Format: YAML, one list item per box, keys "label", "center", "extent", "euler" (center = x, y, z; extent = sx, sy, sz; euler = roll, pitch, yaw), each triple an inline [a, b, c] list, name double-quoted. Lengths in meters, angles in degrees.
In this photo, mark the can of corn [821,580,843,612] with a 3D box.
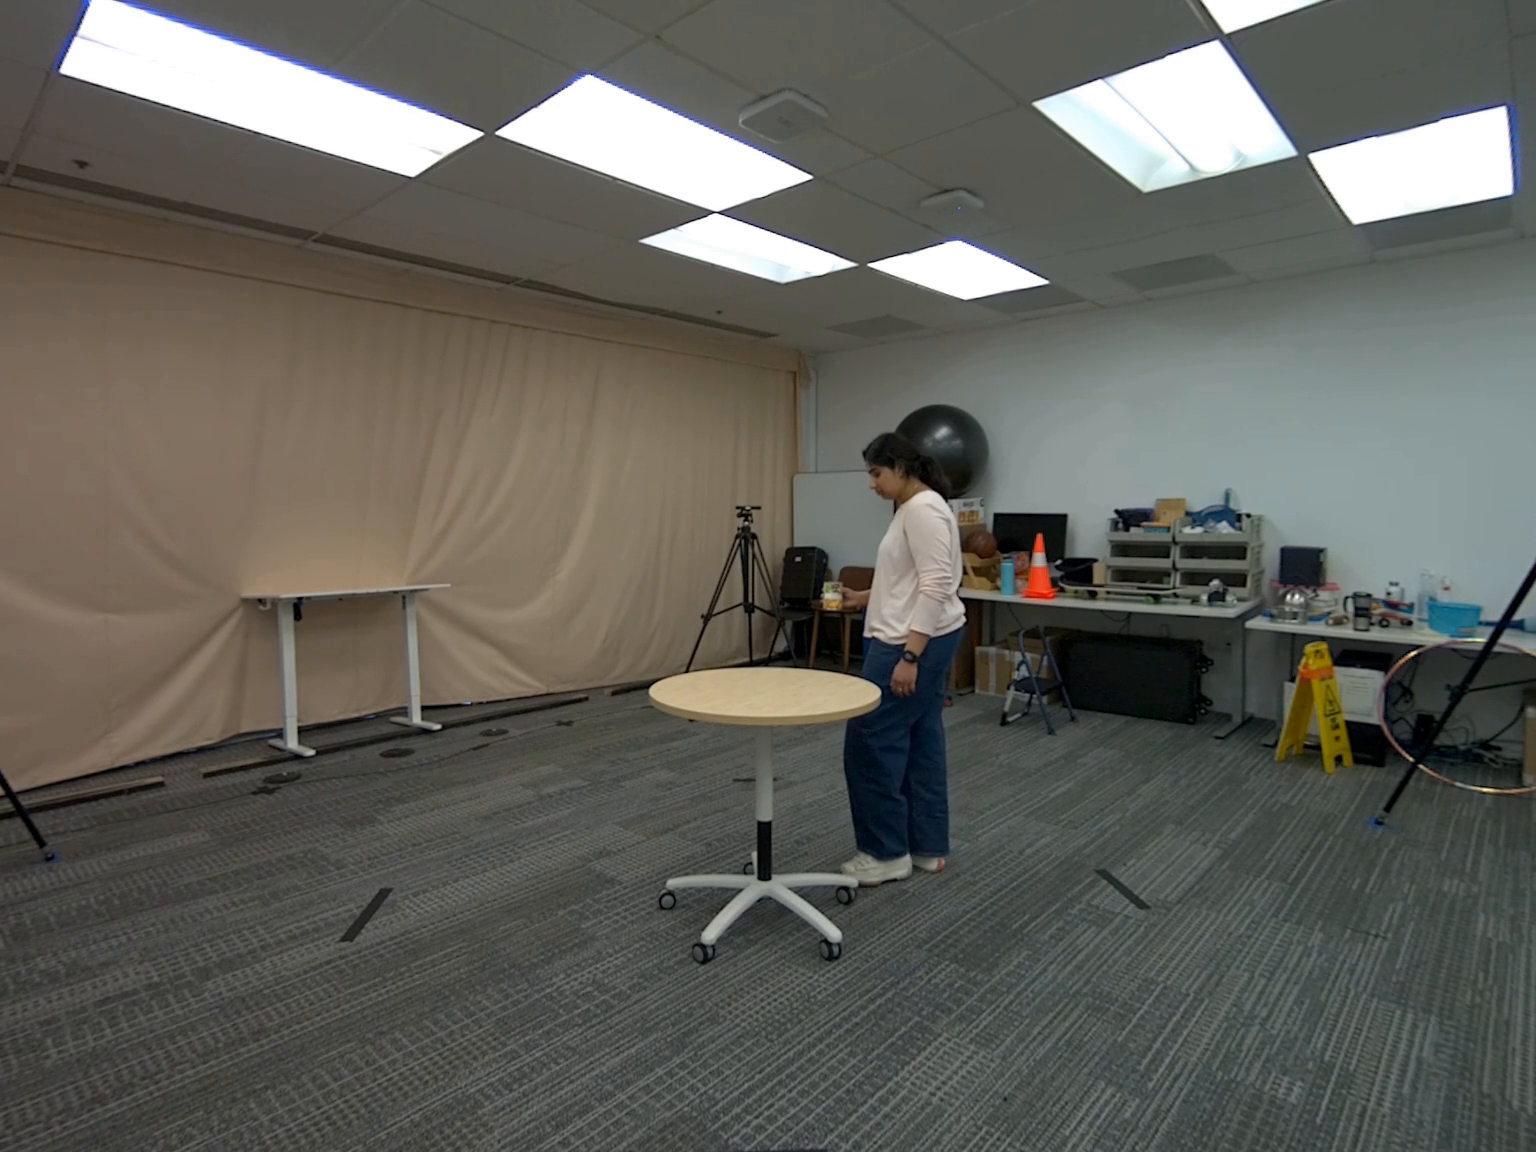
- label: "can of corn"
  center: [0.262, 0.082, 3.363]
  extent: [0.074, 0.111, 0.074]
  euler: [0, -2, -2]
